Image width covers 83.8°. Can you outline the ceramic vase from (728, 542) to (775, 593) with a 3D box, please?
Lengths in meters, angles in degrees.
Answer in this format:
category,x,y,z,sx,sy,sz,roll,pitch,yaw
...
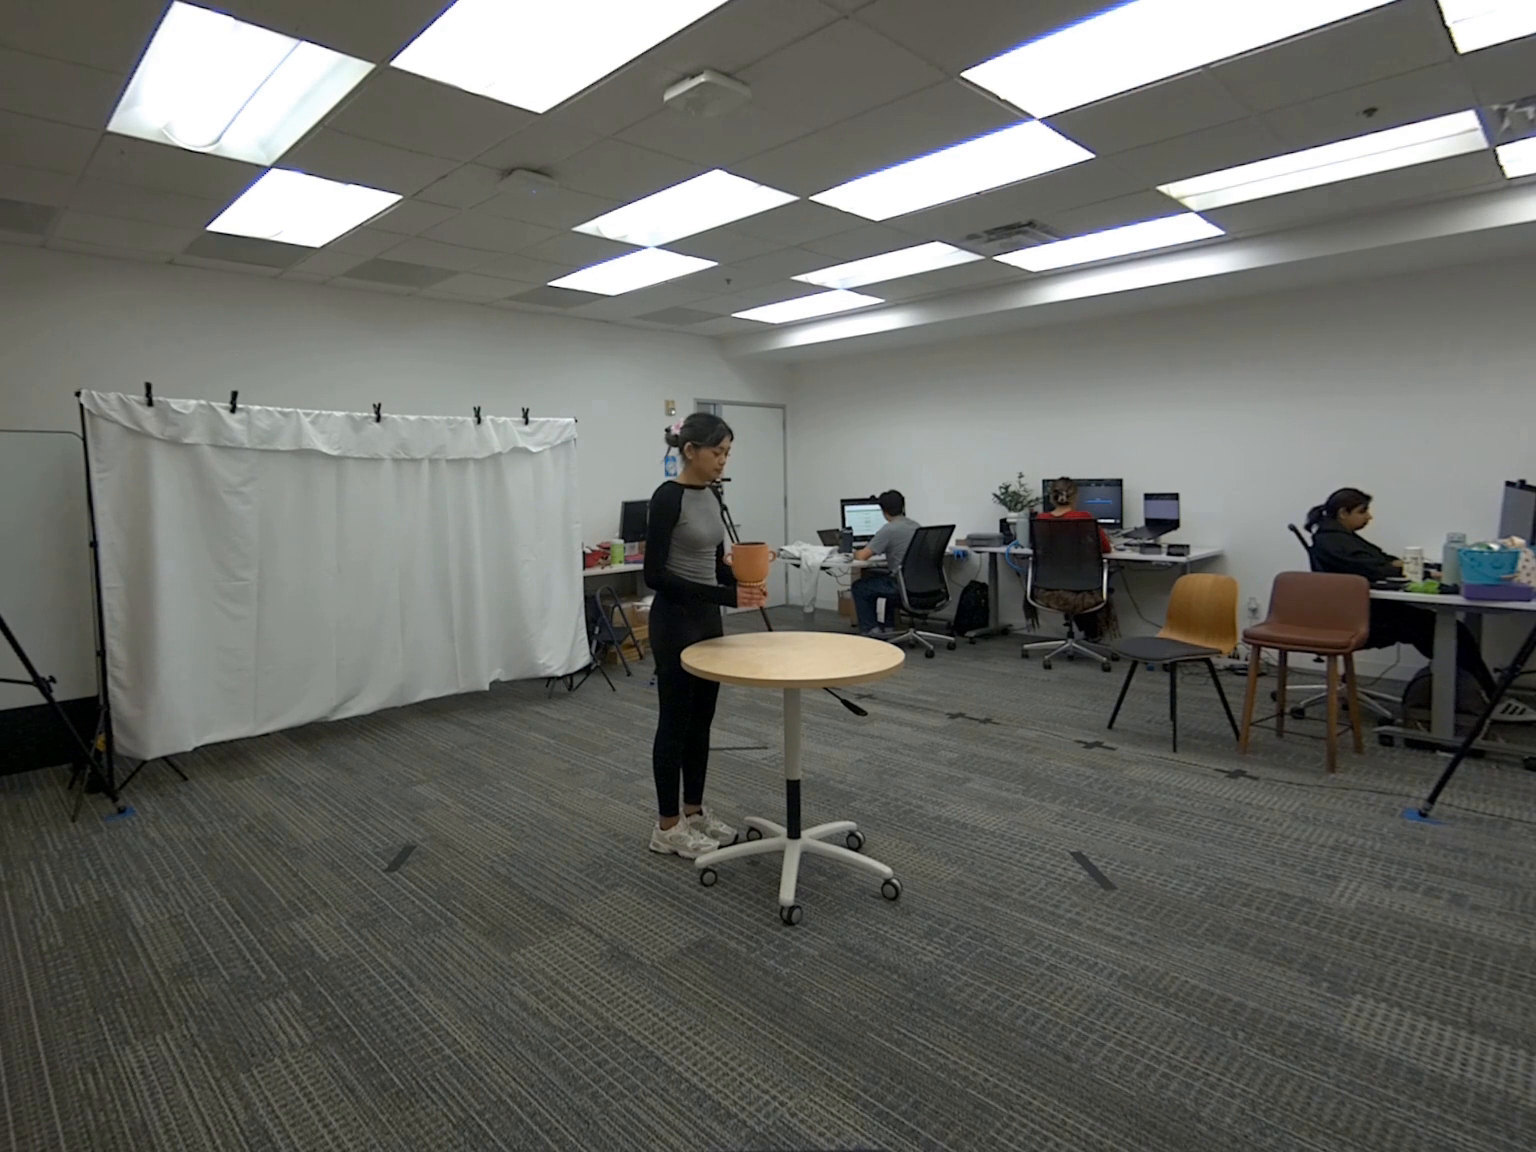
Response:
category,x,y,z,sx,sy,sz,roll,pitch,yaw
ceramic vase,-0.064,-0.003,3.056,0.162,0.218,0.132,1,8,23
